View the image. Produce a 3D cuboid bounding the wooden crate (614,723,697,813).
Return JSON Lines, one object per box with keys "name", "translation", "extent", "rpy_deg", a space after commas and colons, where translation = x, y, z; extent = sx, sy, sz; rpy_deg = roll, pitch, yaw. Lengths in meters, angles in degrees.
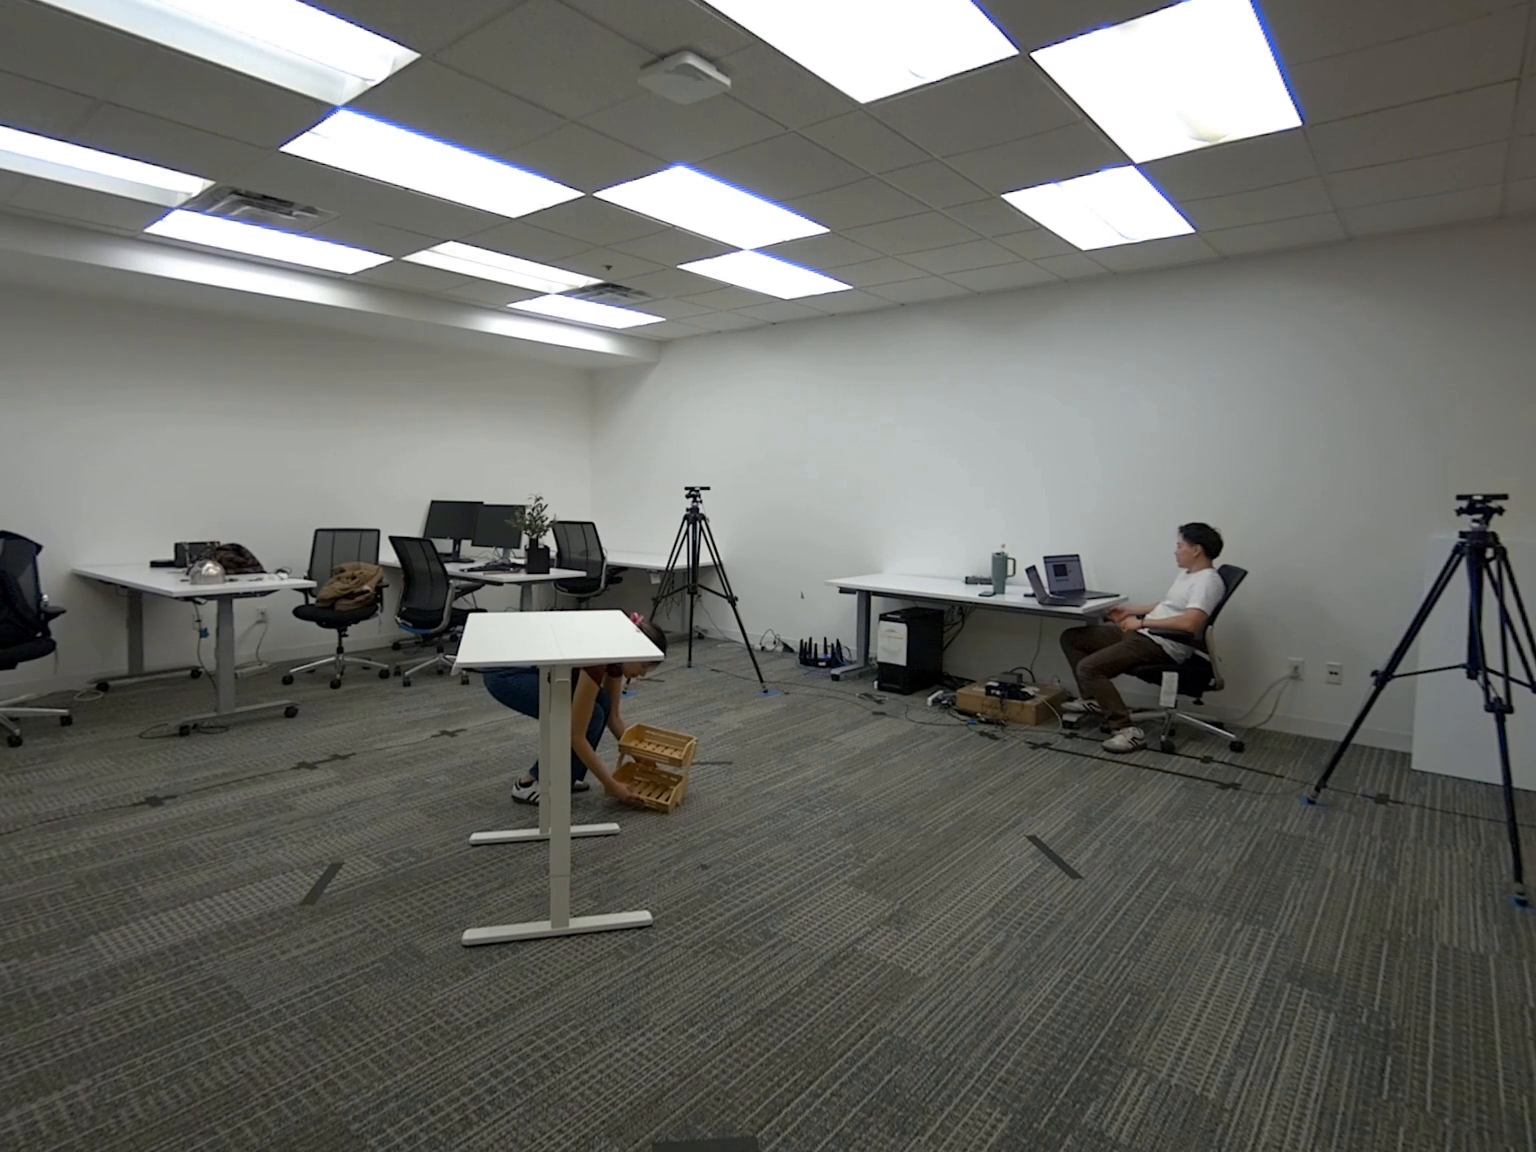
{"name": "wooden crate", "translation": [-0.530, 0.845, 3.777], "extent": [0.330, 0.272, 0.298], "rpy_deg": [9, 5, 14]}
